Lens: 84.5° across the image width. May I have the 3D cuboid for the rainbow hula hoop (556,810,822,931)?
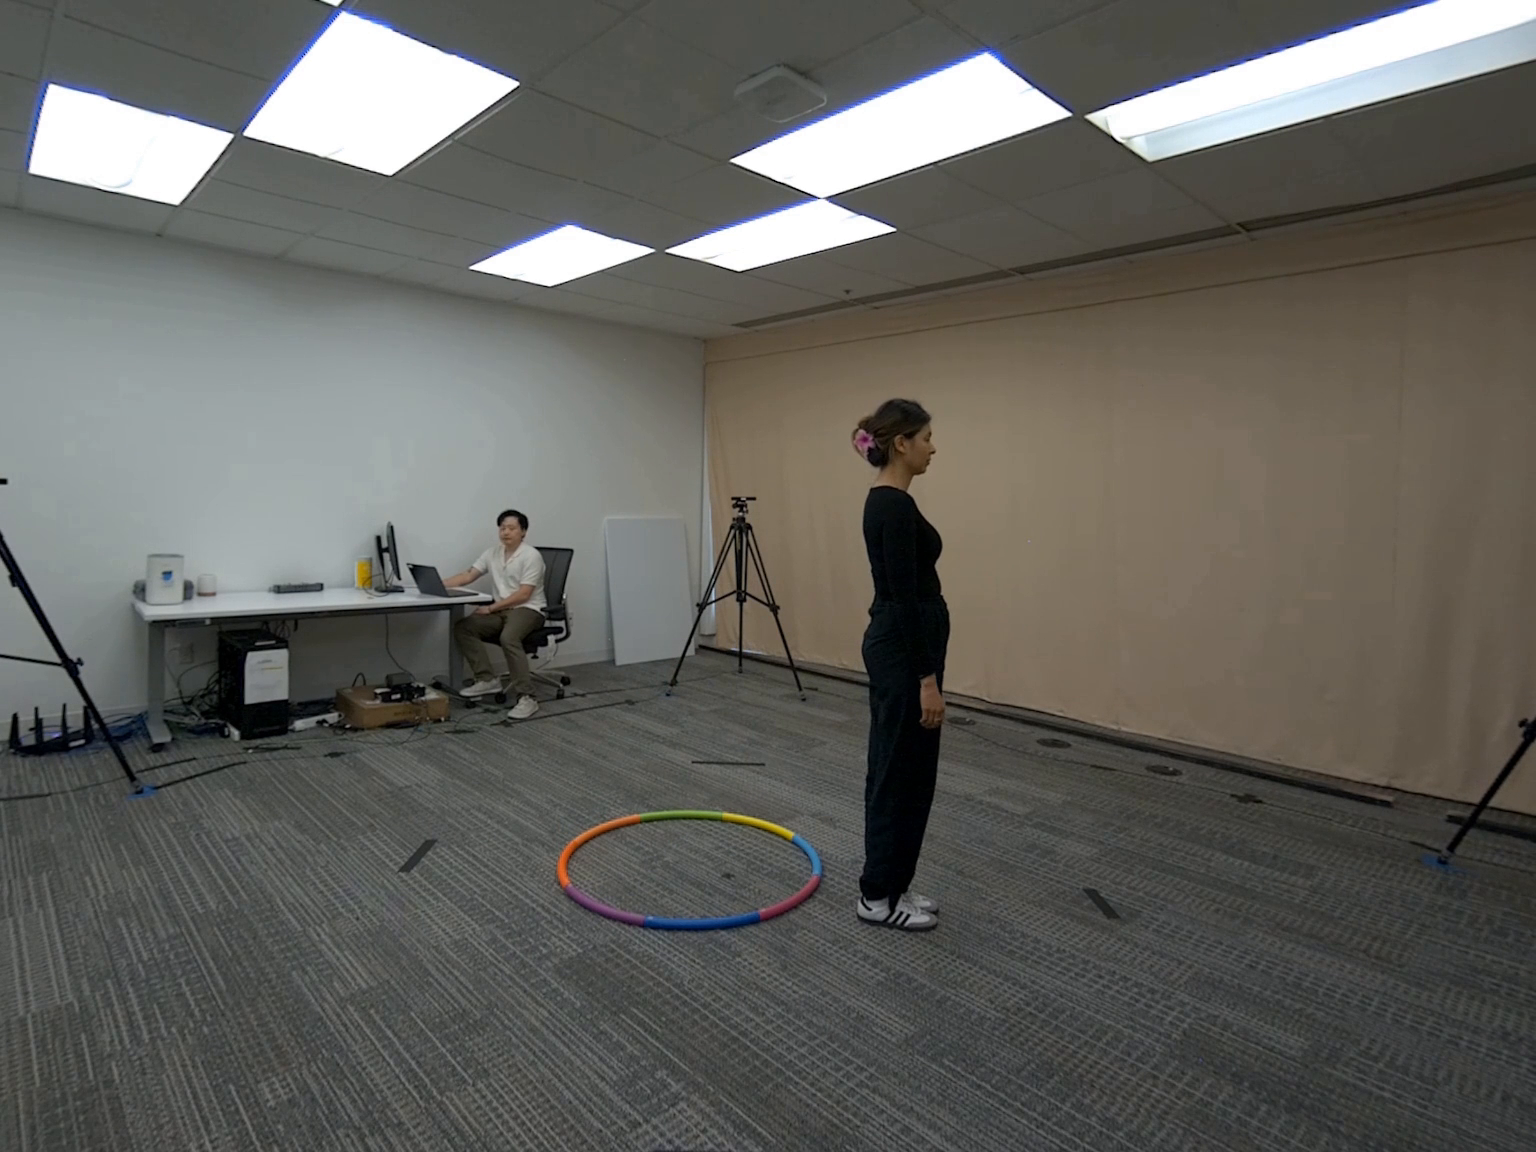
[{"bbox_3d":[-0.298,1.067,3.179,0.978,0.035,0.982,1,5,-1],"label":"rainbow hula hoop"}]
